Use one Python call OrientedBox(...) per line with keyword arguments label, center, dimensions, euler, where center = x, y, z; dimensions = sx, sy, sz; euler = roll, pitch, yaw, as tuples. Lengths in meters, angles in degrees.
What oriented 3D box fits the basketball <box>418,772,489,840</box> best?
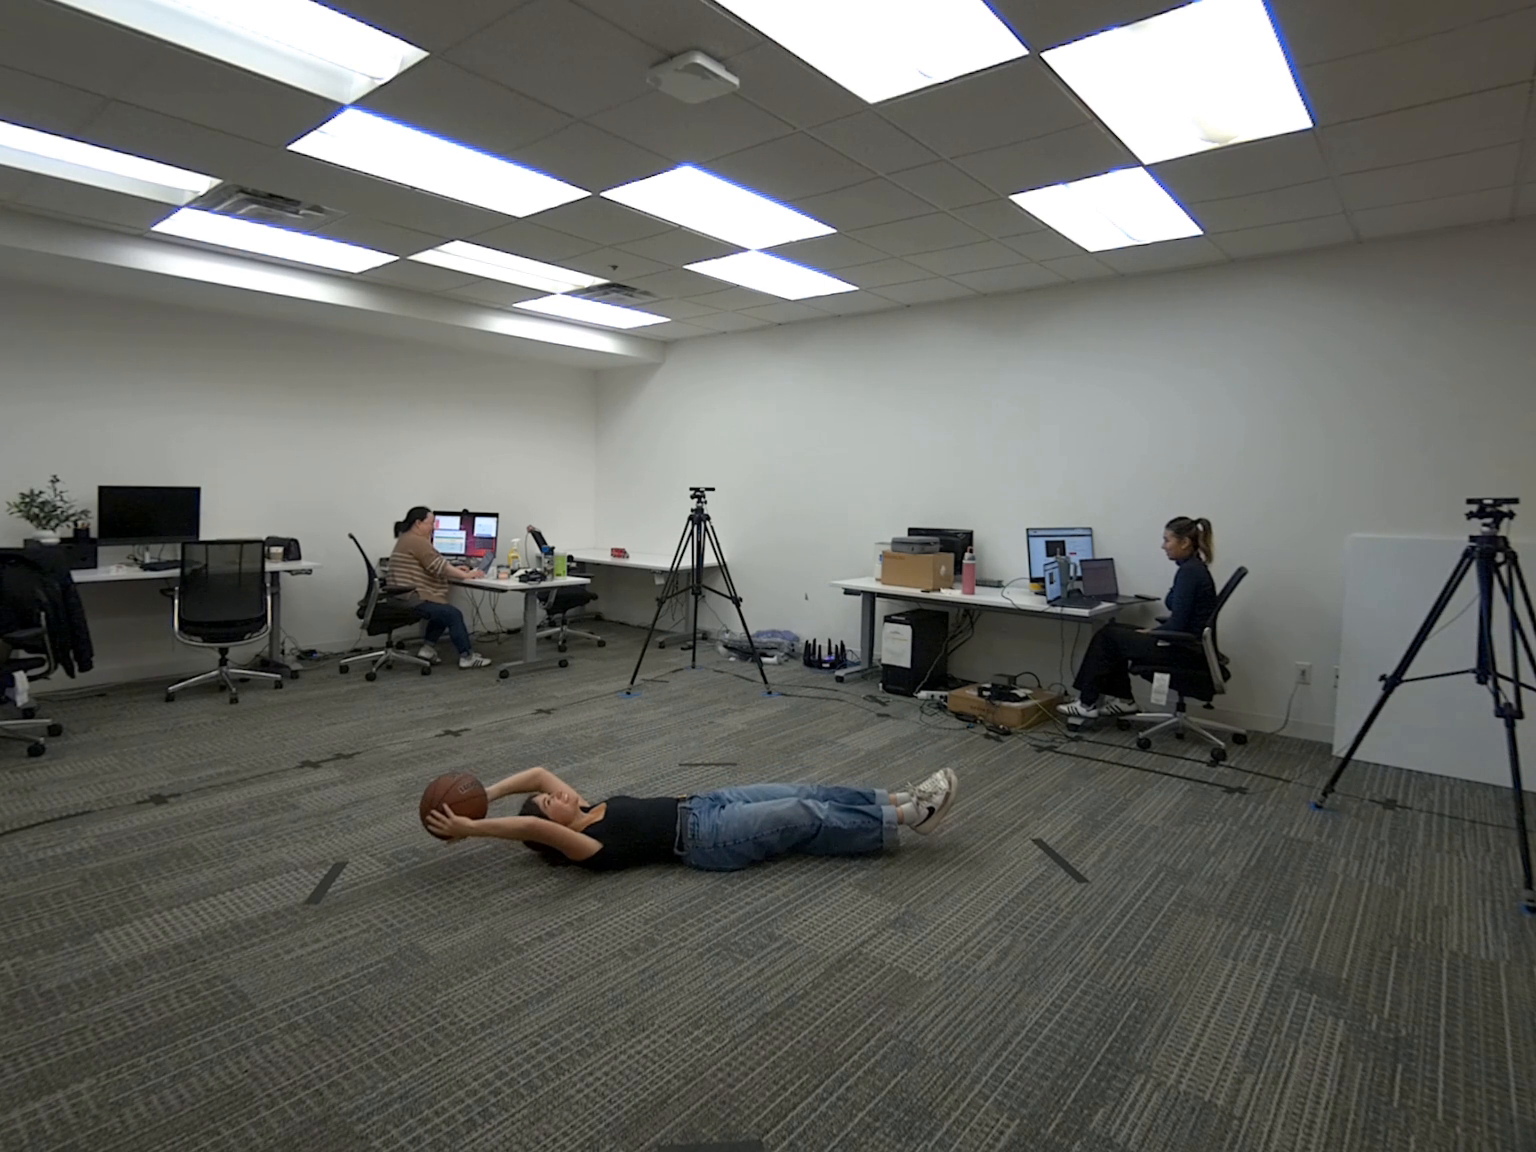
OrientedBox(label="basketball", center=(-1.139, 0.815, 3.078), dimensions=(0.235, 0.235, 0.237), euler=(1, 4, -2))
